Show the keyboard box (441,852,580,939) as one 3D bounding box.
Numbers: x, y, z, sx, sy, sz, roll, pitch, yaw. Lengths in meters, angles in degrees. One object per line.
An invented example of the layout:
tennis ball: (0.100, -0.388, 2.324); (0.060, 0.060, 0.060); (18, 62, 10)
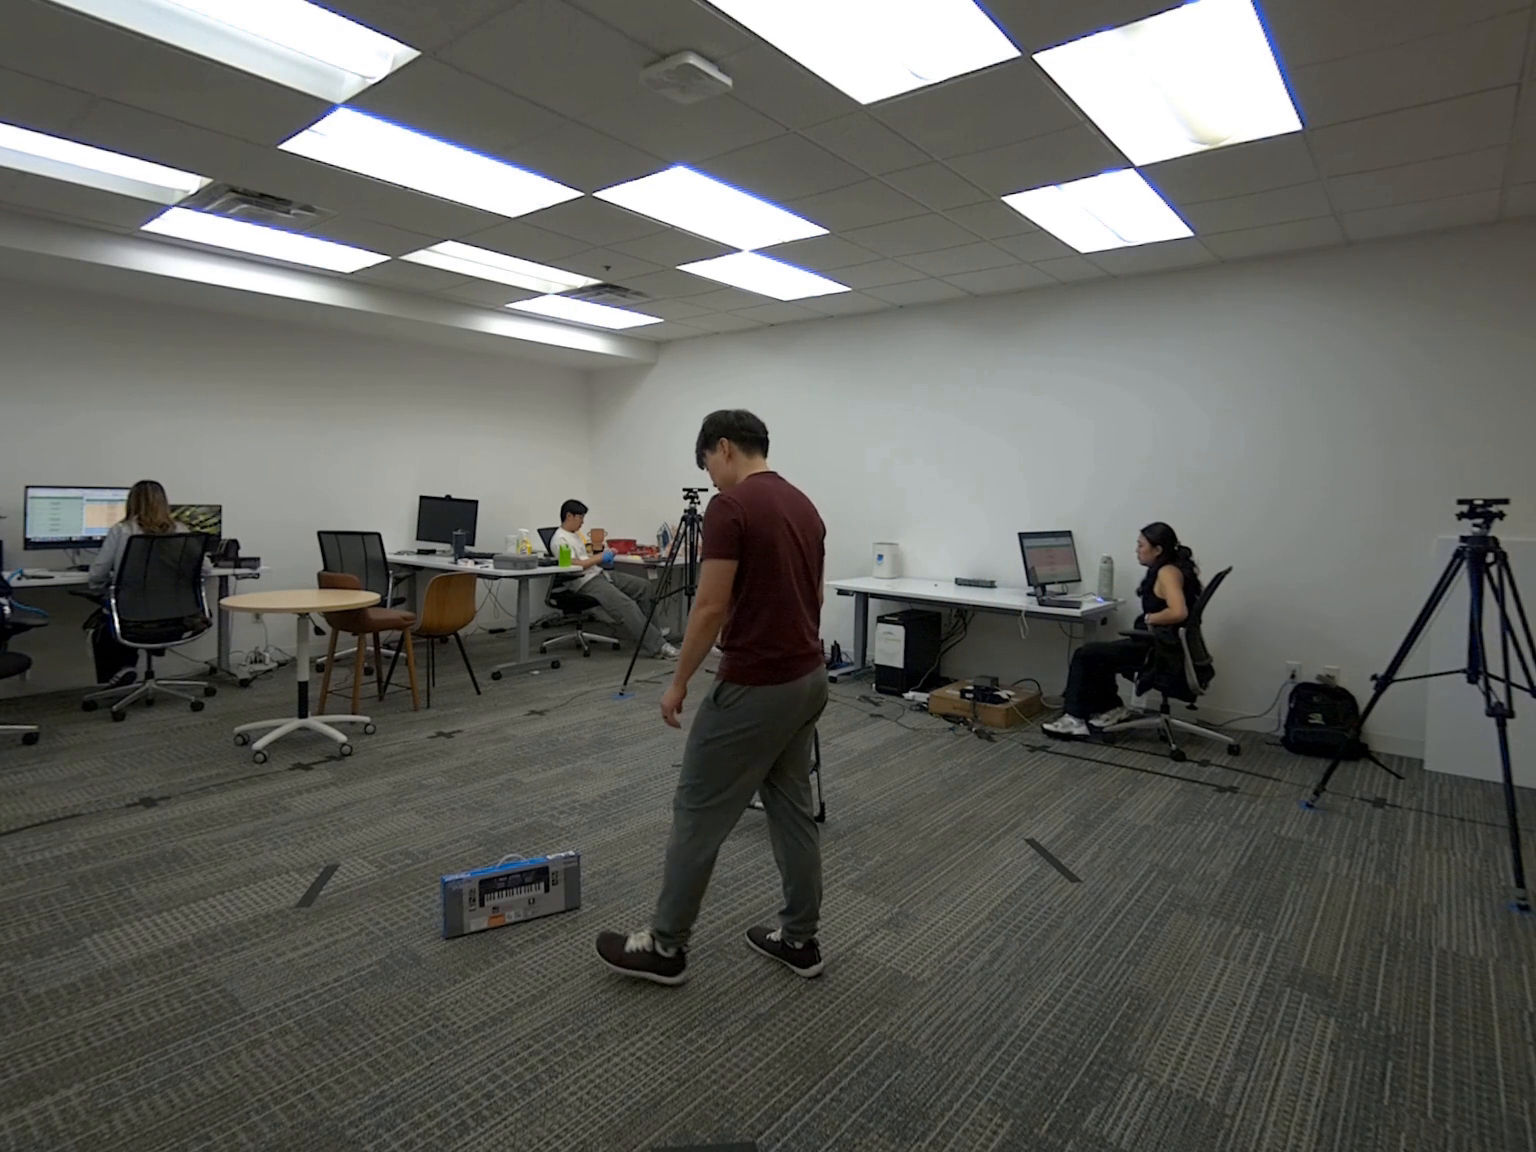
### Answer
keyboard box: (-0.823, 1.011, 2.722); (0.425, 0.176, 0.060); (-2, -3, -29)
